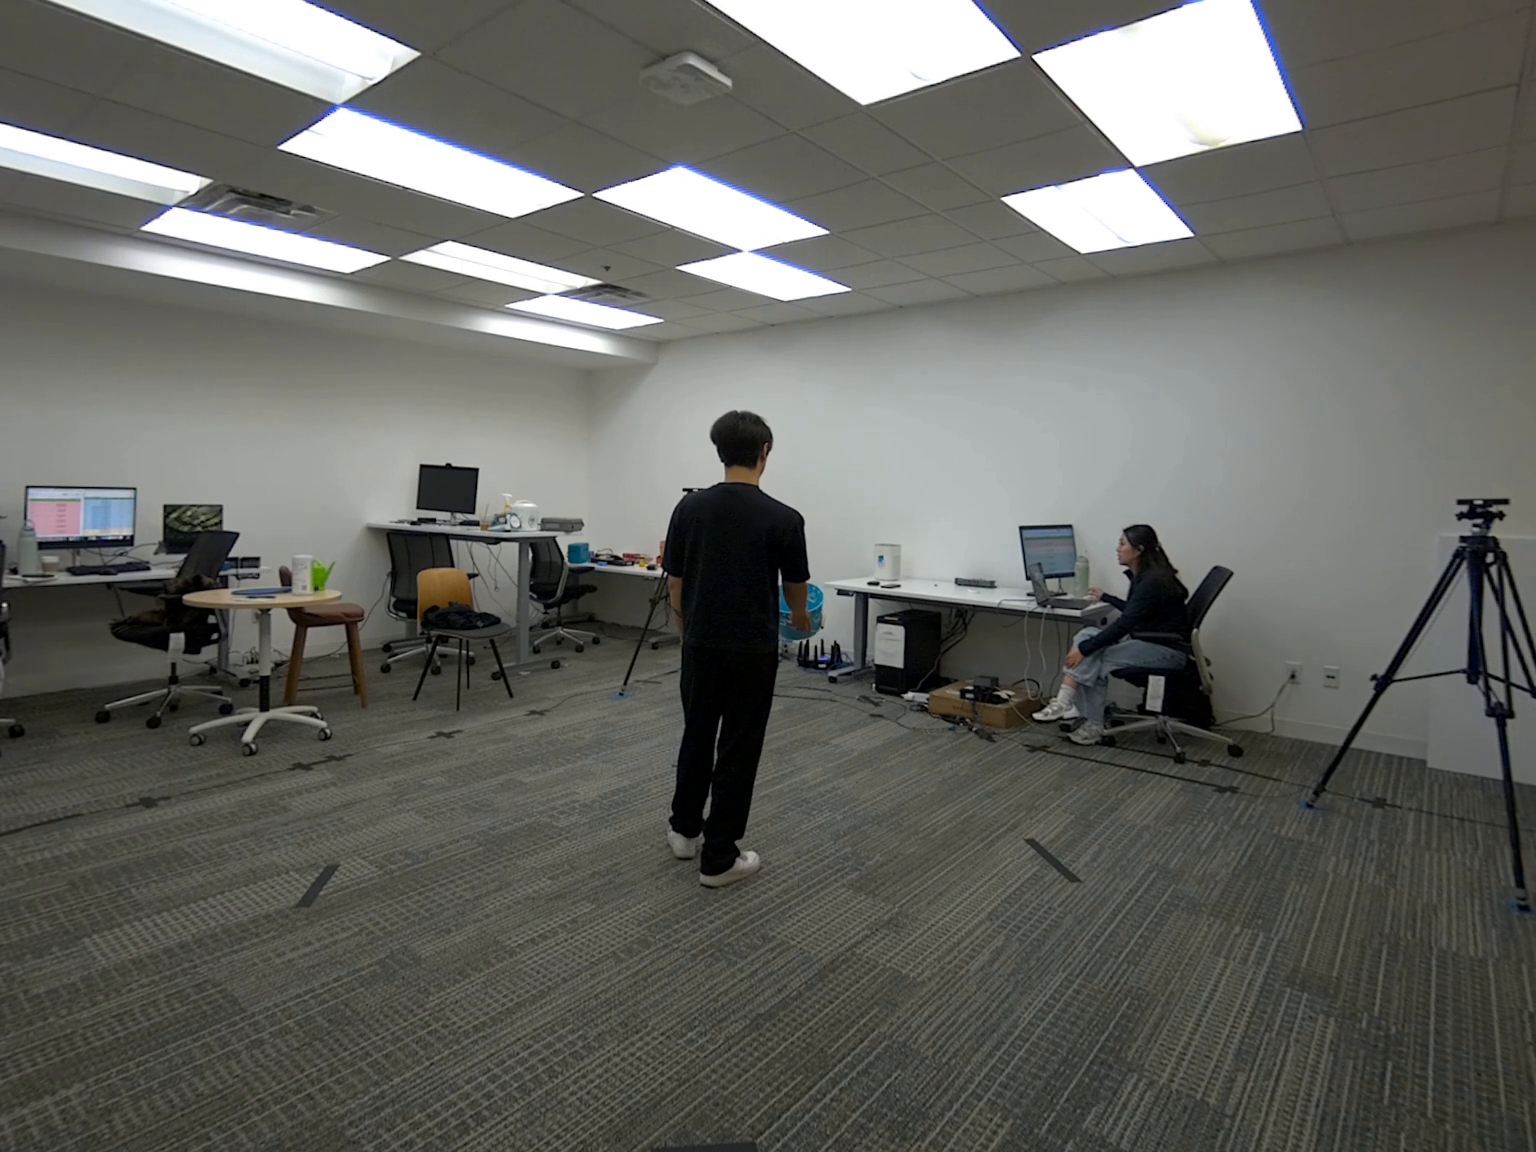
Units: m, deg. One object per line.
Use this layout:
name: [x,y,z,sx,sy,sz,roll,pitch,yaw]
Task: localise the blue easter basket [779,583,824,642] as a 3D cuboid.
blue easter basket: [0.120,0.163,3.507,0.244,0.151,0.250,-5,31,1]
